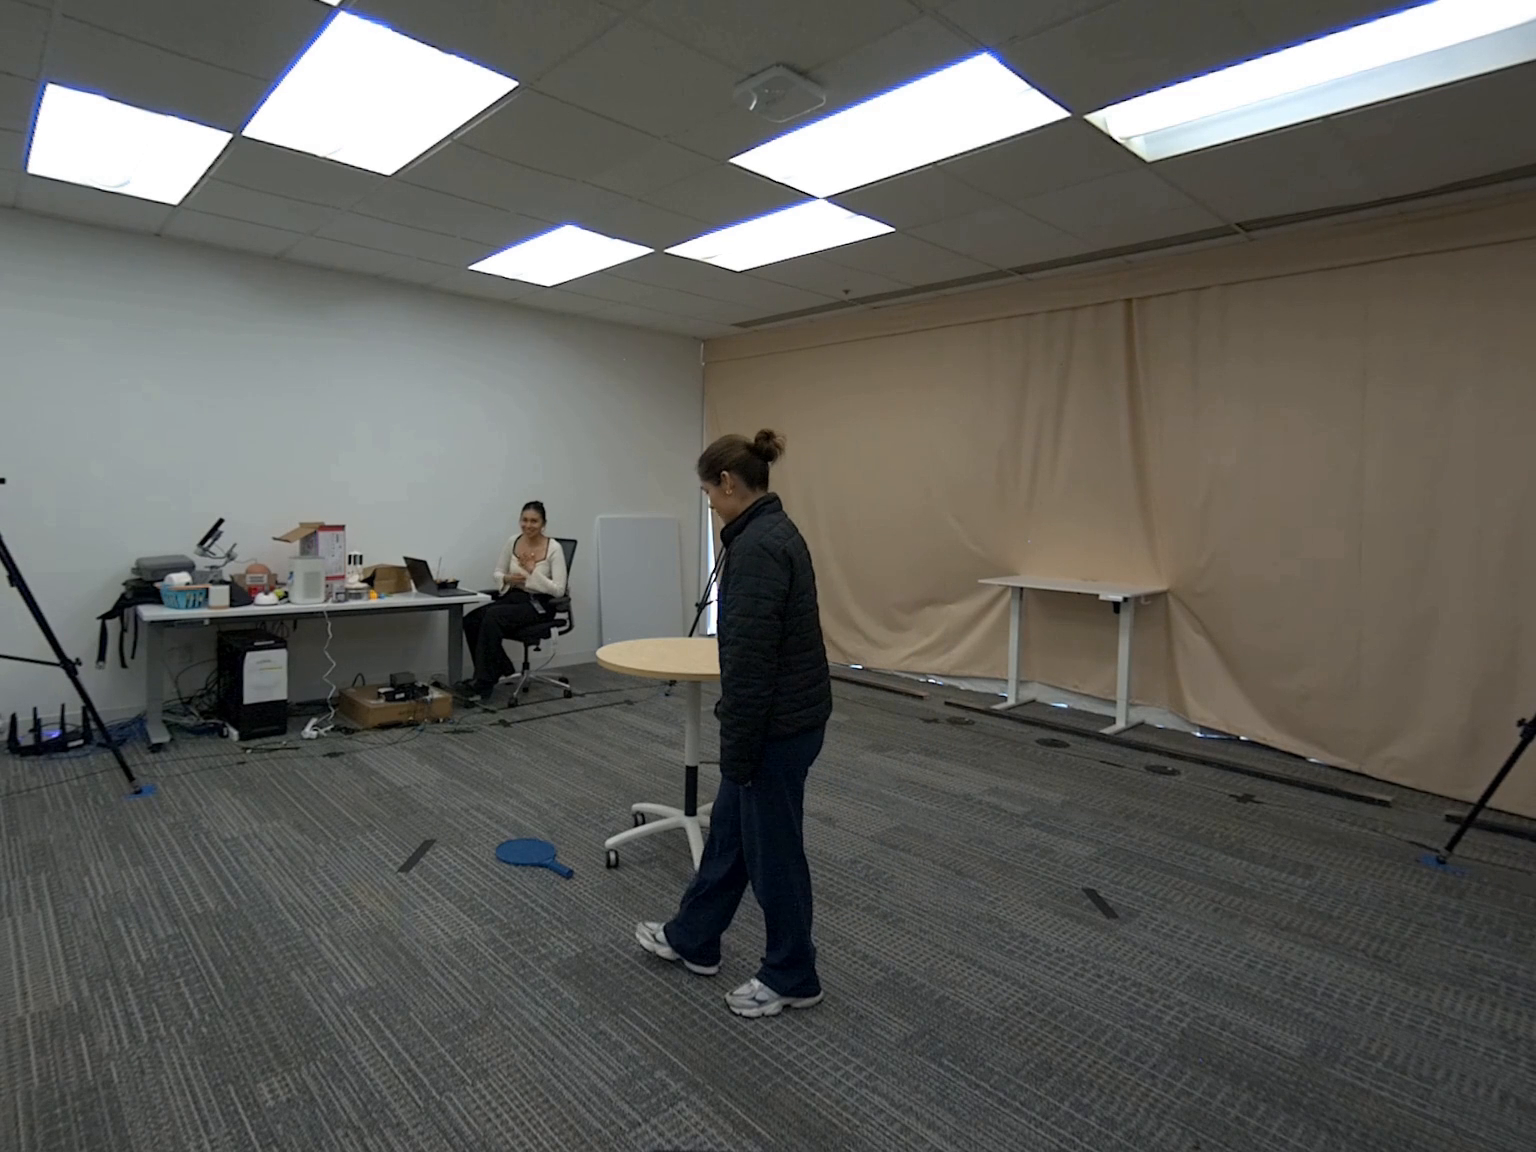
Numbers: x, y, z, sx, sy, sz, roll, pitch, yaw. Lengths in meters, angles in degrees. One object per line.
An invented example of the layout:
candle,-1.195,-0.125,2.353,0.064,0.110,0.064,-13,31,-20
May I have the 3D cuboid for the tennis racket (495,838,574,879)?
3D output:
tennis racket,-0.878,1.071,3.182,0.209,0.032,0.444,-4,6,-44
